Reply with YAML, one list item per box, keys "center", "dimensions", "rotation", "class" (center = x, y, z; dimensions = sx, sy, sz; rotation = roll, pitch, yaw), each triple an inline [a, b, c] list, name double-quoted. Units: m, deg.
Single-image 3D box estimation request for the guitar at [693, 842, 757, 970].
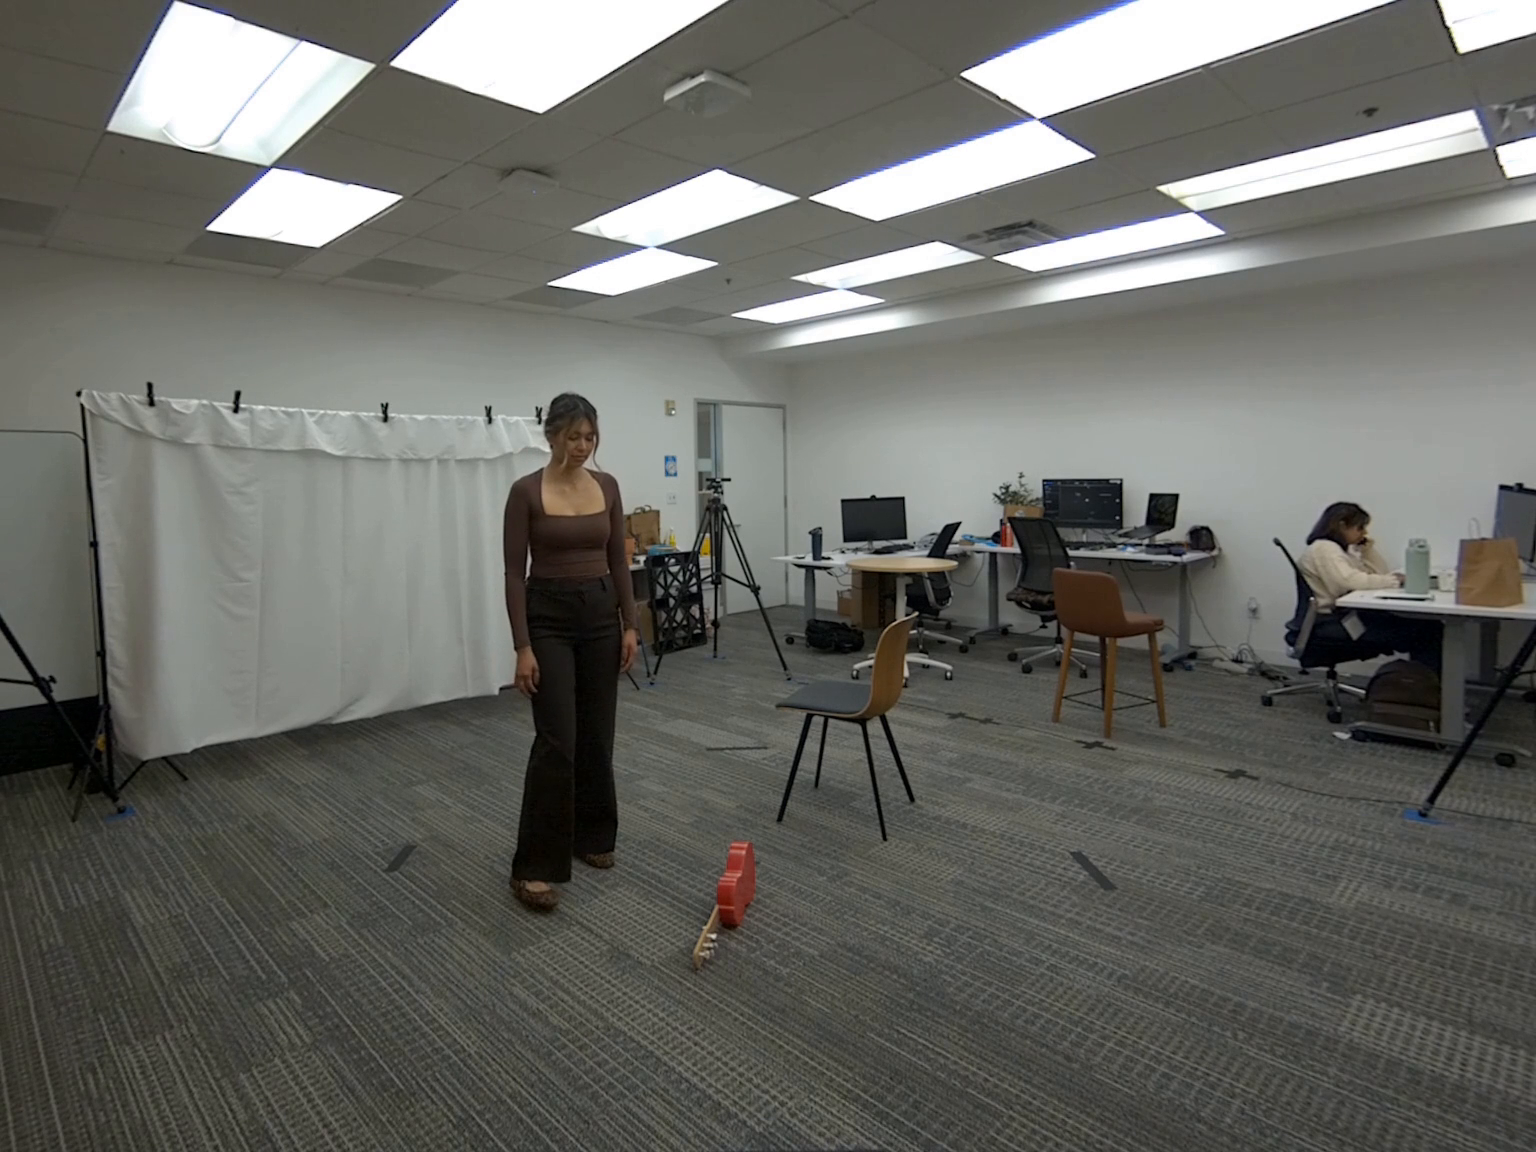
- center: [-0.124, 1.055, 2.663]
  dimensions: [0.072, 0.189, 0.501]
  rotation: [0, 24, 14]
  class: "guitar"
